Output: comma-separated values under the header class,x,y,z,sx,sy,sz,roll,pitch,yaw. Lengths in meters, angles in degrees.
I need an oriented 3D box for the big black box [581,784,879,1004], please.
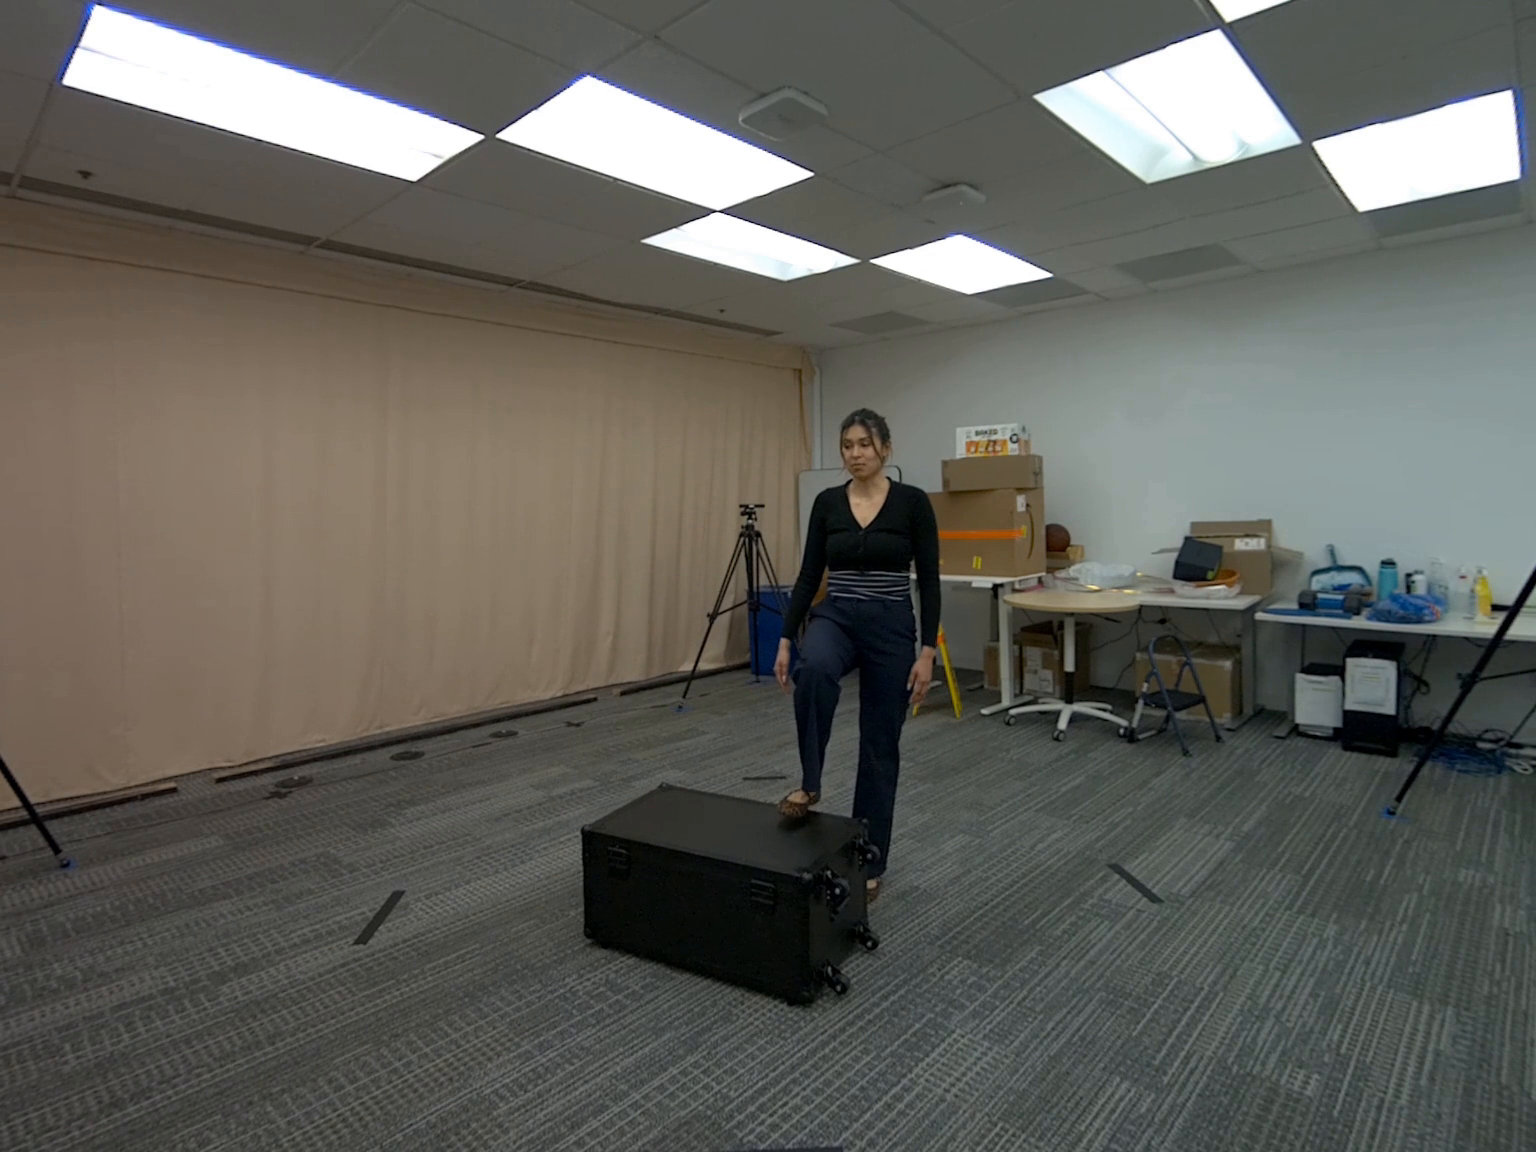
class,x,y,z,sx,sy,sz,roll,pitch,yaw
big black box,-0.105,0.978,2.672,0.885,0.395,0.508,1,4,27
